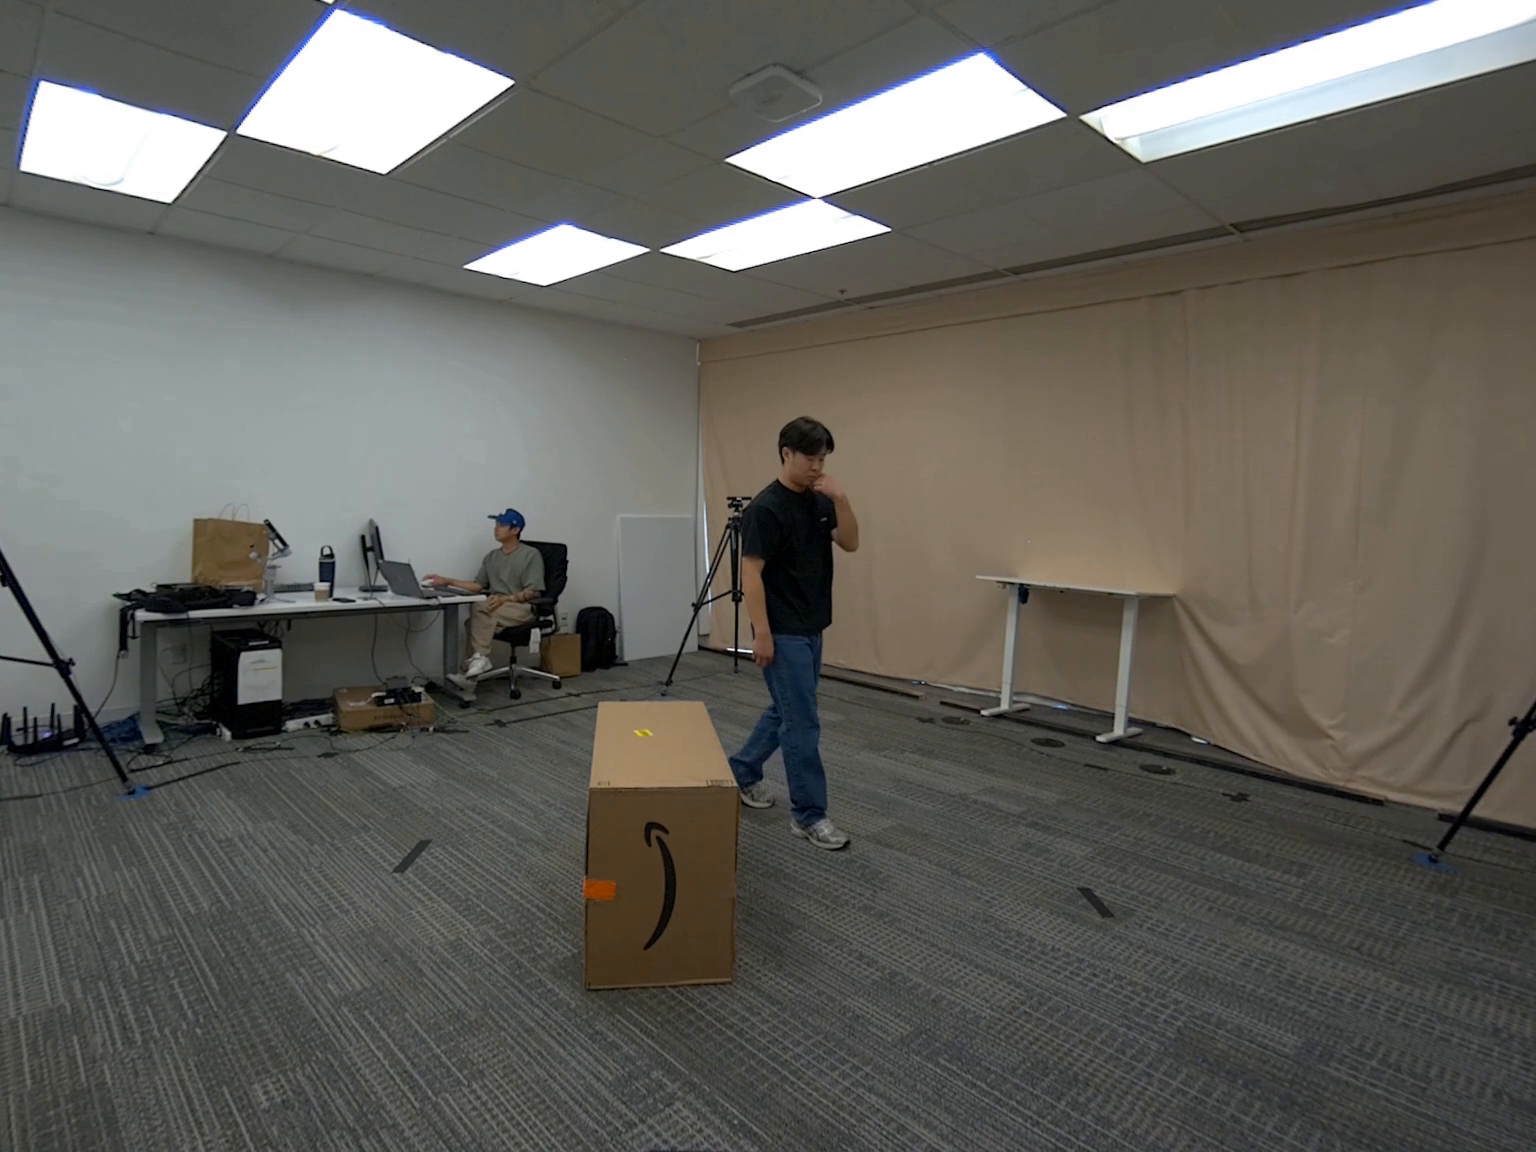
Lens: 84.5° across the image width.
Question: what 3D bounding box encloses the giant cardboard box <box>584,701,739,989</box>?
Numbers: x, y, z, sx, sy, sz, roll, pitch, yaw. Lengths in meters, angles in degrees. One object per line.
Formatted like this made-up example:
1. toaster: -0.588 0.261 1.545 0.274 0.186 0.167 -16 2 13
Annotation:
1. giant cardboard box: -0.392 0.834 2.877 0.443 0.582 1.037 0 4 -10
